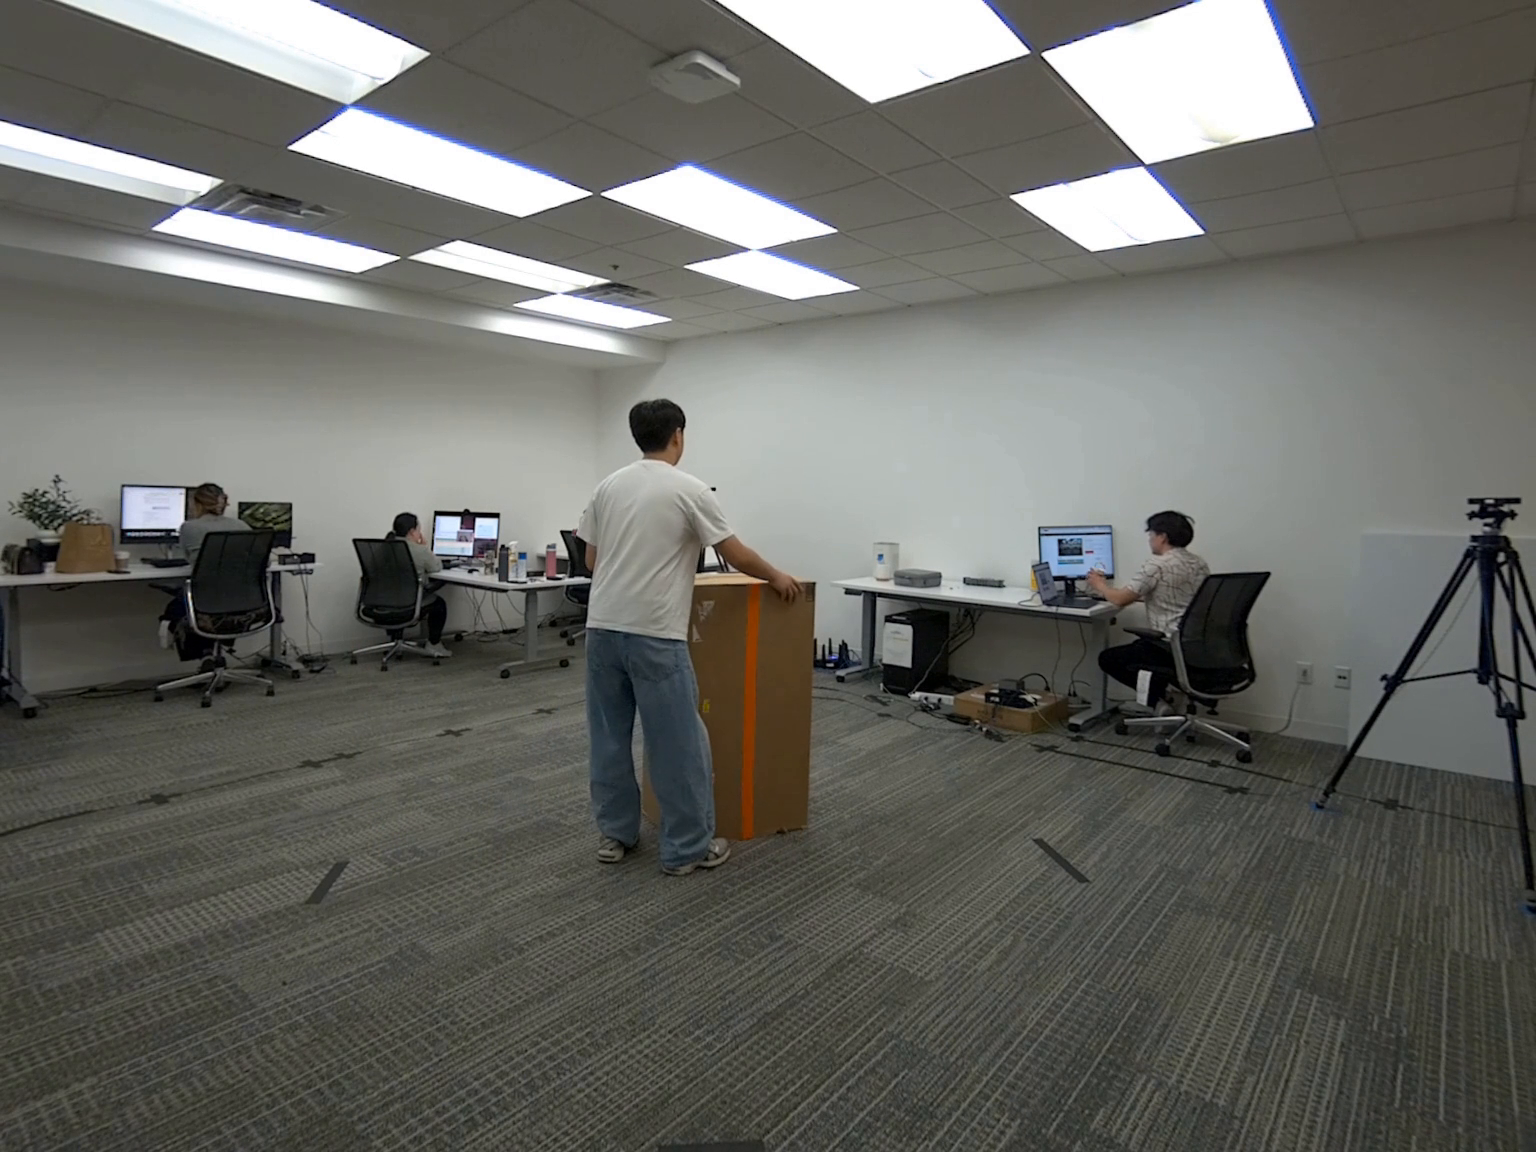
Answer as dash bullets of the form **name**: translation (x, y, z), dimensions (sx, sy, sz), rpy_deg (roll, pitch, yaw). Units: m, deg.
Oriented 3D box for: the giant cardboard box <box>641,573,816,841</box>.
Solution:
- **giant cardboard box**: translation (-0.171, 0.519, 3.547), dimensions (0.563, 1.023, 0.438), rpy_deg (0, 3, -27)
